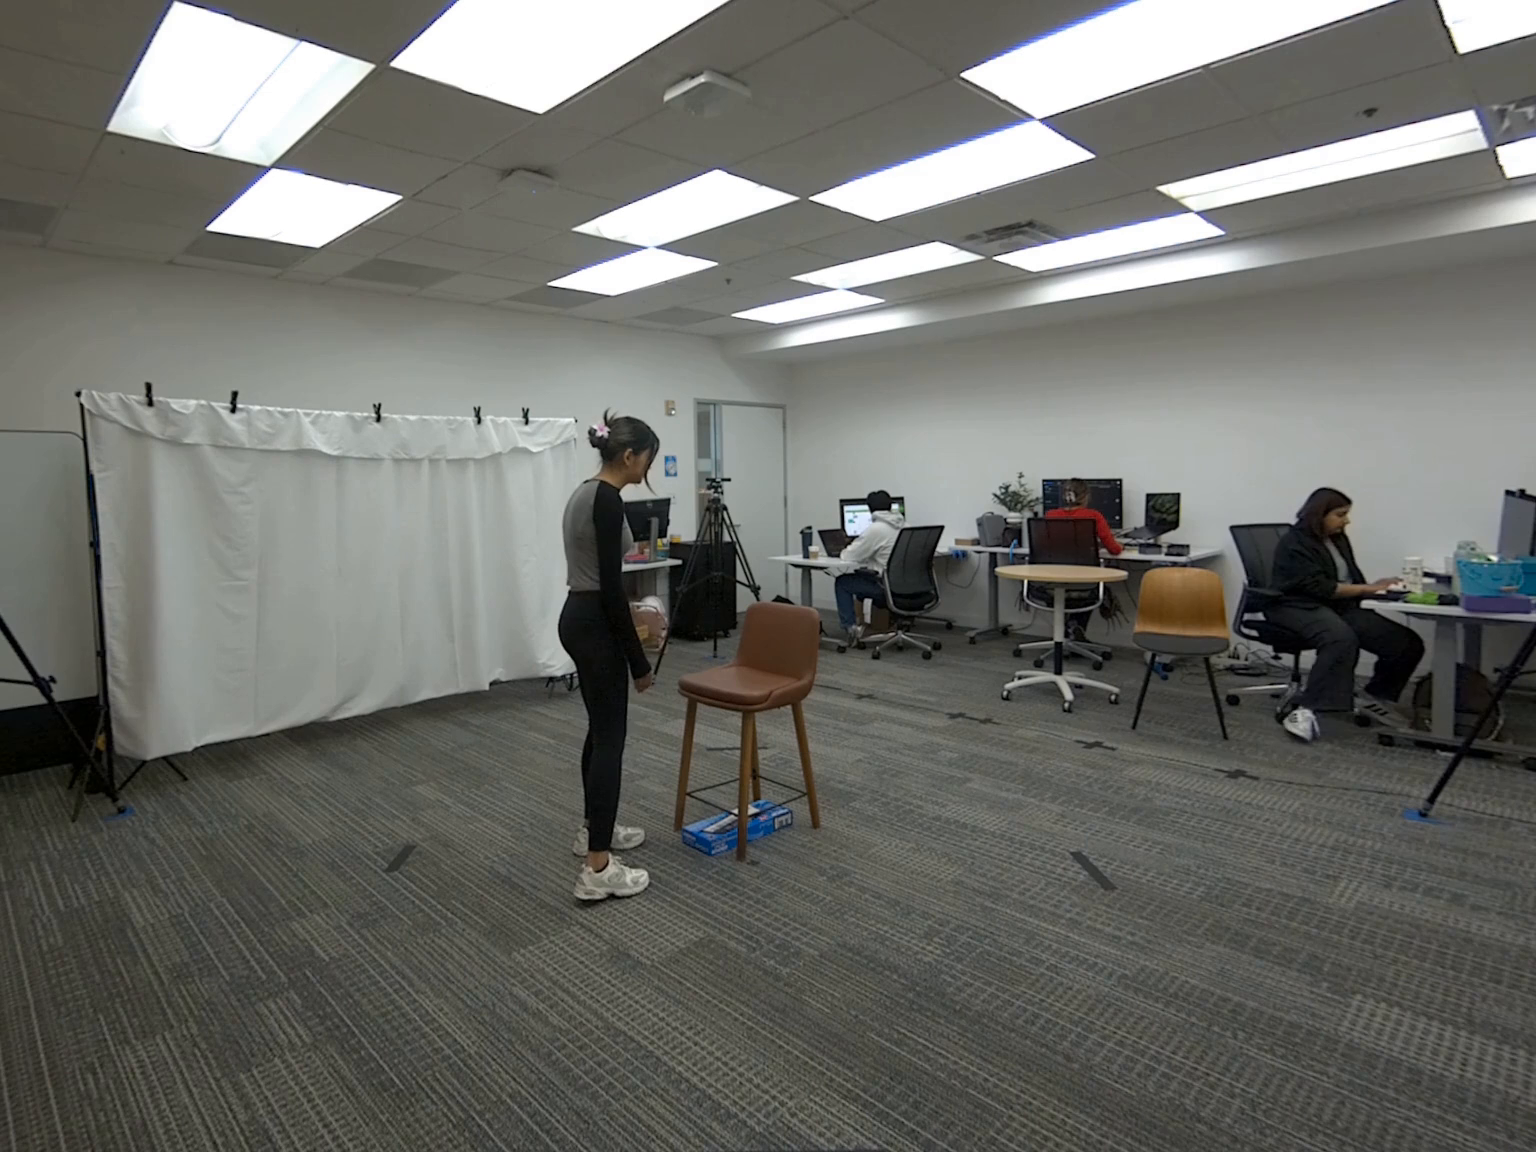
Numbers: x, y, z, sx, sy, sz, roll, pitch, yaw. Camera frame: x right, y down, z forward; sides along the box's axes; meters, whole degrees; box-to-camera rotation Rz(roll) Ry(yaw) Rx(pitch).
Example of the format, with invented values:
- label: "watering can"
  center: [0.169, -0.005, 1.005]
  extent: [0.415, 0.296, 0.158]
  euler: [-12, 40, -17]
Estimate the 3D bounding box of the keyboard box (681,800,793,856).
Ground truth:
- label: "keyboard box"
  center: [-0.115, 0.985, 3.368]
  extent: [0.425, 0.059, 0.181]
  euler: [-6, 8, -42]
